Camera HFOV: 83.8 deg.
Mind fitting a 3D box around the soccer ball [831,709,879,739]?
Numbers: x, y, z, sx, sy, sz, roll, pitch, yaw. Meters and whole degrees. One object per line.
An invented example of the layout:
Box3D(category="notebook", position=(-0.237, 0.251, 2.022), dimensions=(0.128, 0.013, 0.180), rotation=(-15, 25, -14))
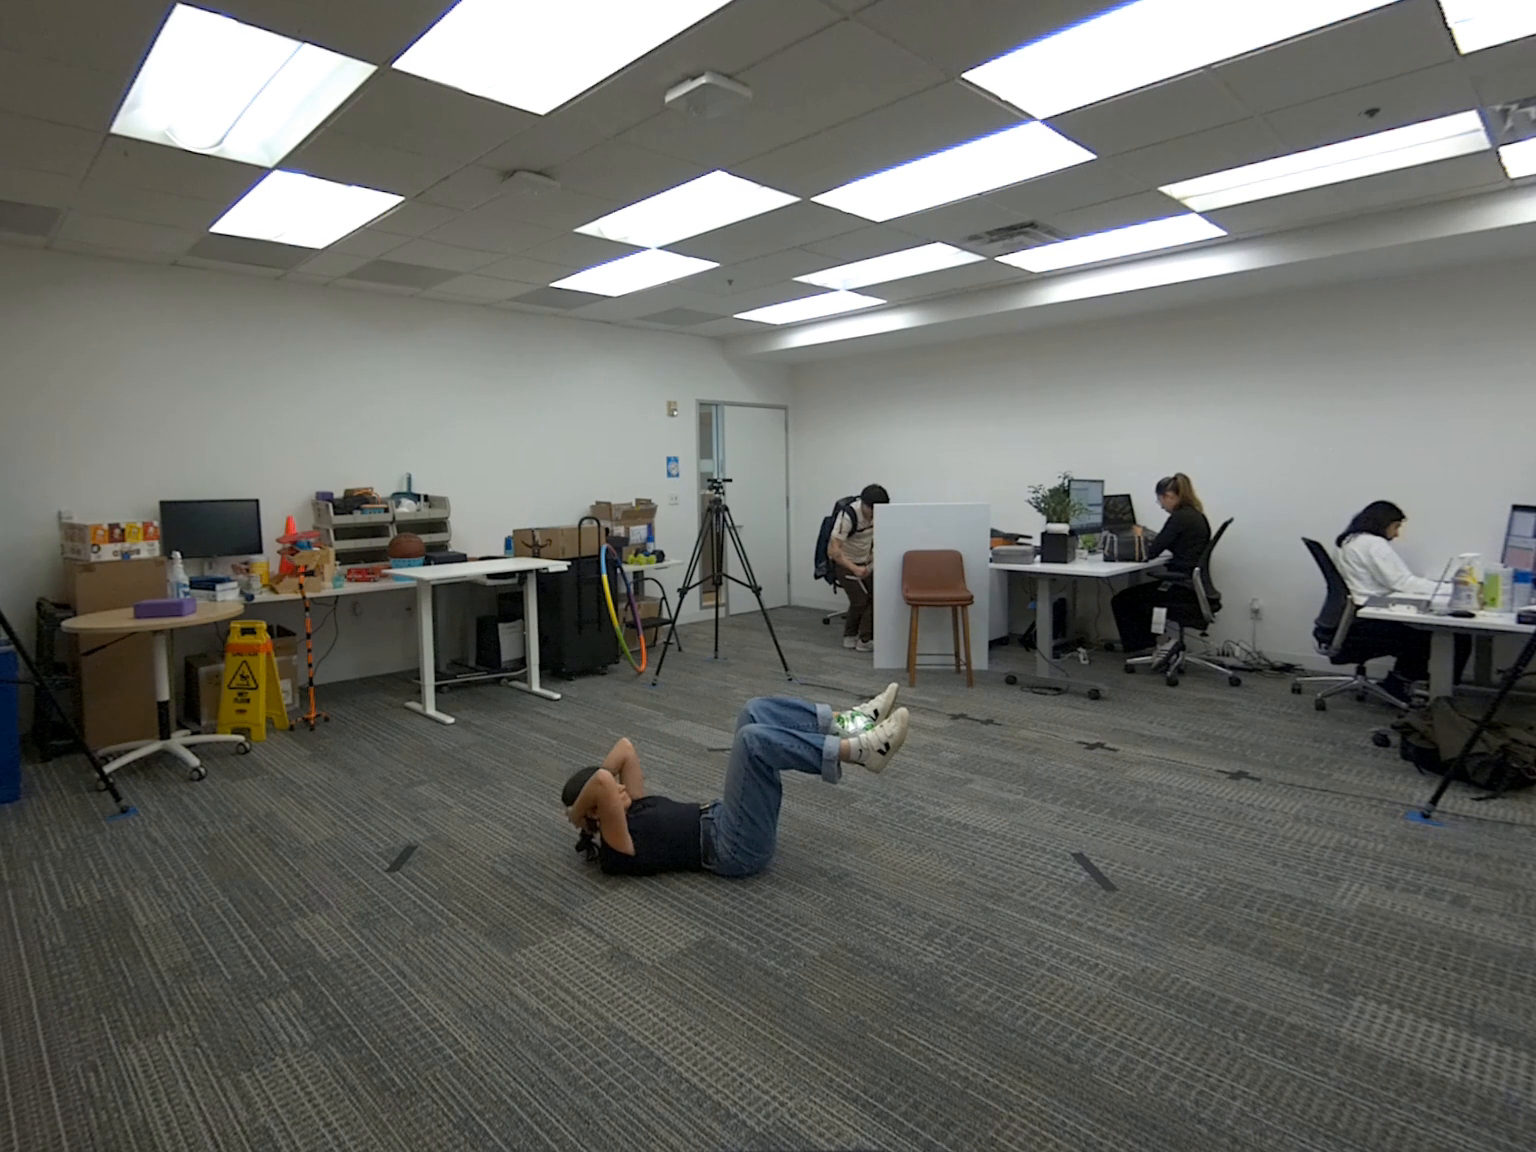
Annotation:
Box3D(category="soccer ball", position=(0.312, 0.579, 3.061), dimensions=(0.187, 0.187, 0.188), rotation=(0, 1, -2))
